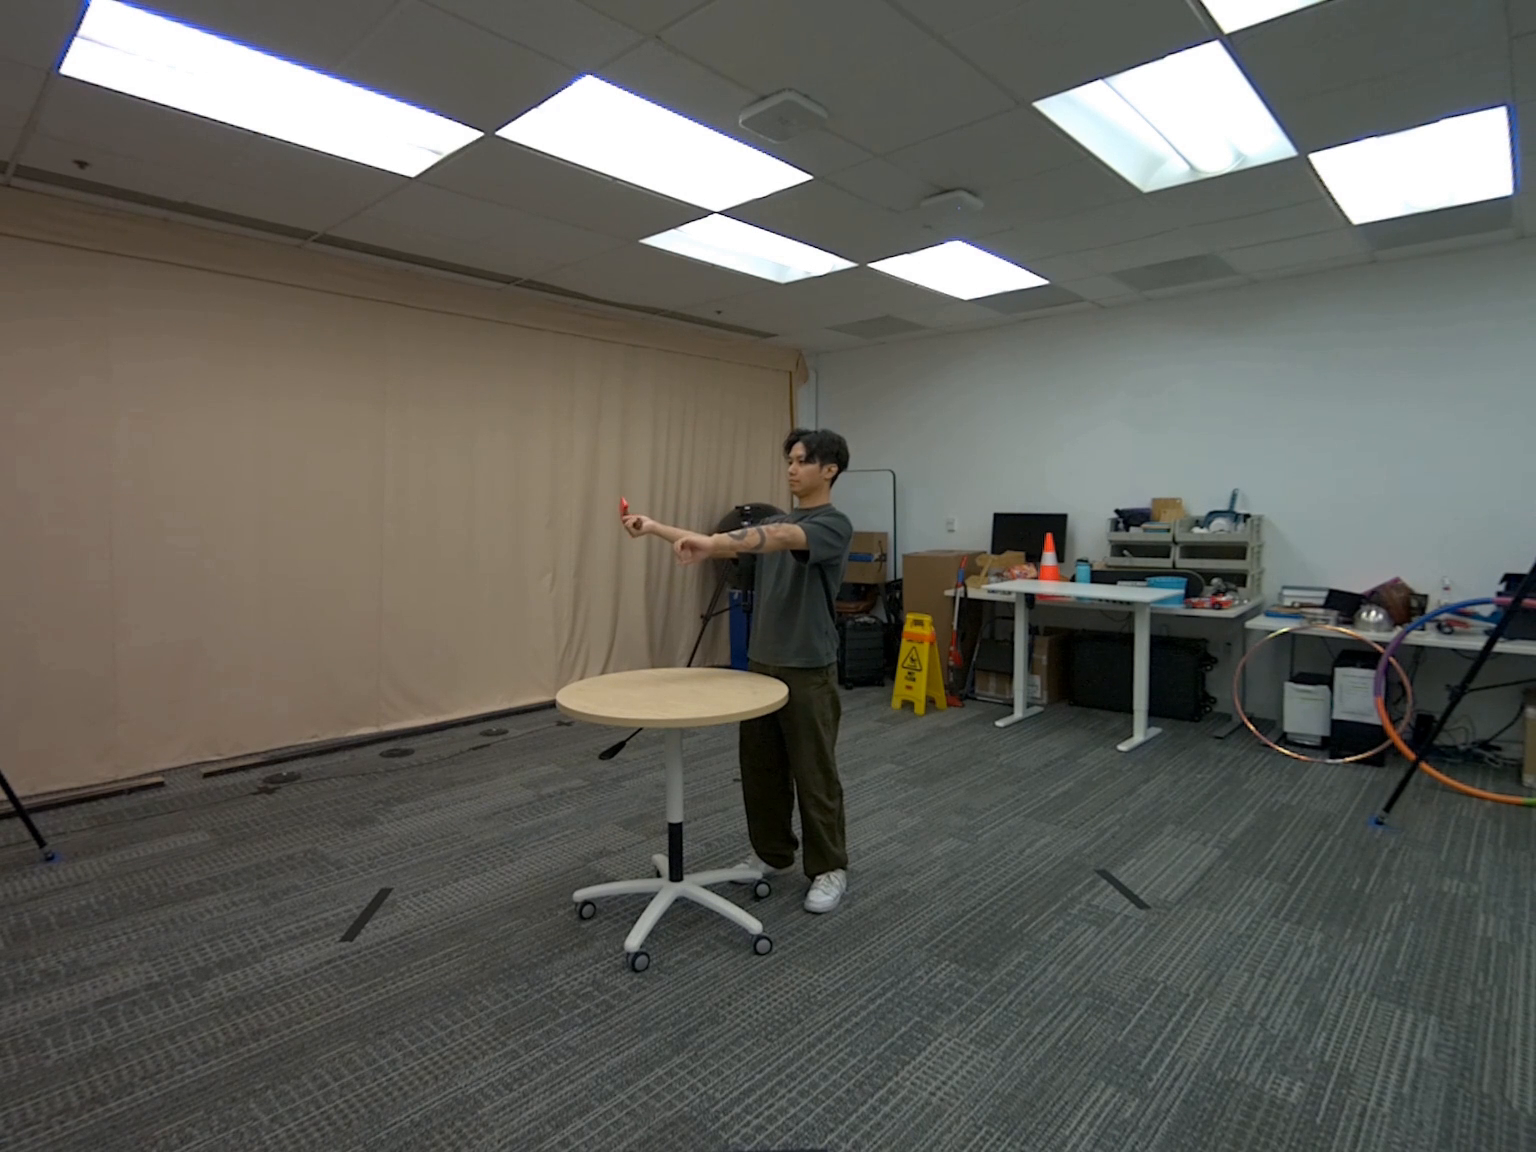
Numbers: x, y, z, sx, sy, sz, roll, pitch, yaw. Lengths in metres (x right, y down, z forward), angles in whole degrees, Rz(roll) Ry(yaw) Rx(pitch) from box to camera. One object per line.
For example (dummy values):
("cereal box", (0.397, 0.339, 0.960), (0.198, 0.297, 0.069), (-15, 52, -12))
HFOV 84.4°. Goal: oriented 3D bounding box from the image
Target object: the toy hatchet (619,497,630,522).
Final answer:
("toy hatchet", (-0.506, -0.226, 3.095), (0.029, 0.130, 0.275), (-8, 5, -18))
